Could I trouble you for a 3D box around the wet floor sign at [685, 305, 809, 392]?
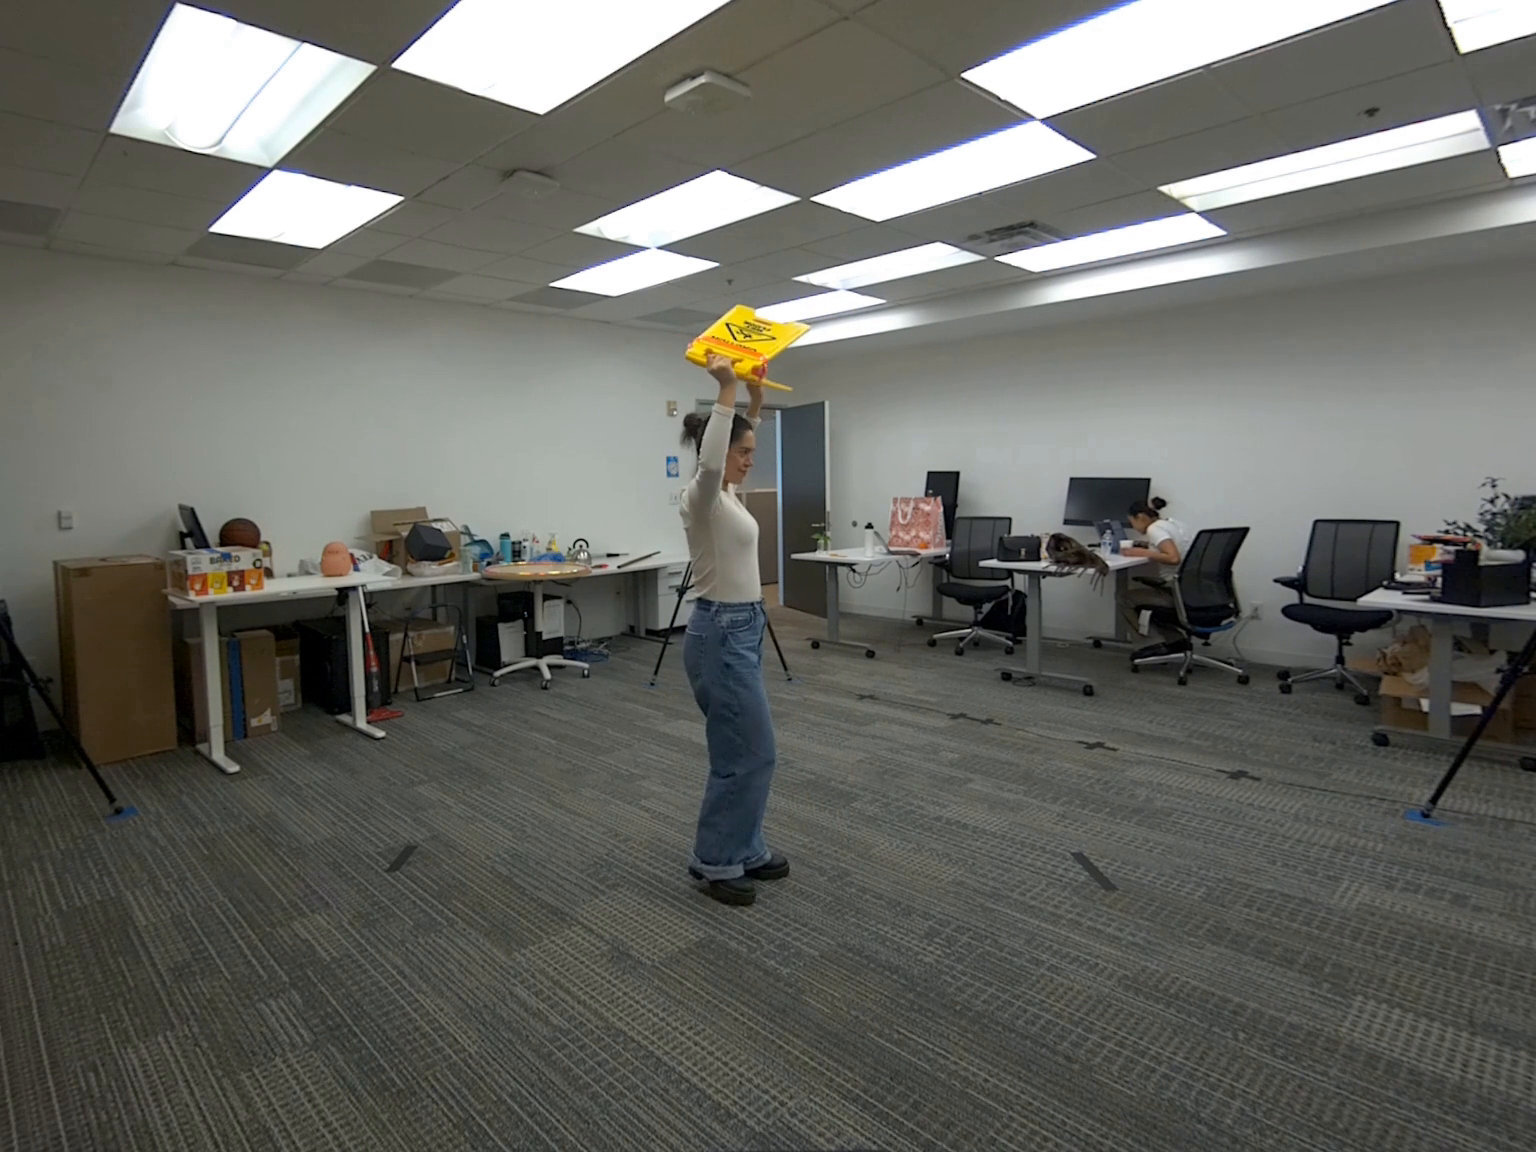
[{"bbox_3d":[-0.084,-0.718,2.776,0.285,0.286,0.647,18,20,6],"label":"wet floor sign"}]
